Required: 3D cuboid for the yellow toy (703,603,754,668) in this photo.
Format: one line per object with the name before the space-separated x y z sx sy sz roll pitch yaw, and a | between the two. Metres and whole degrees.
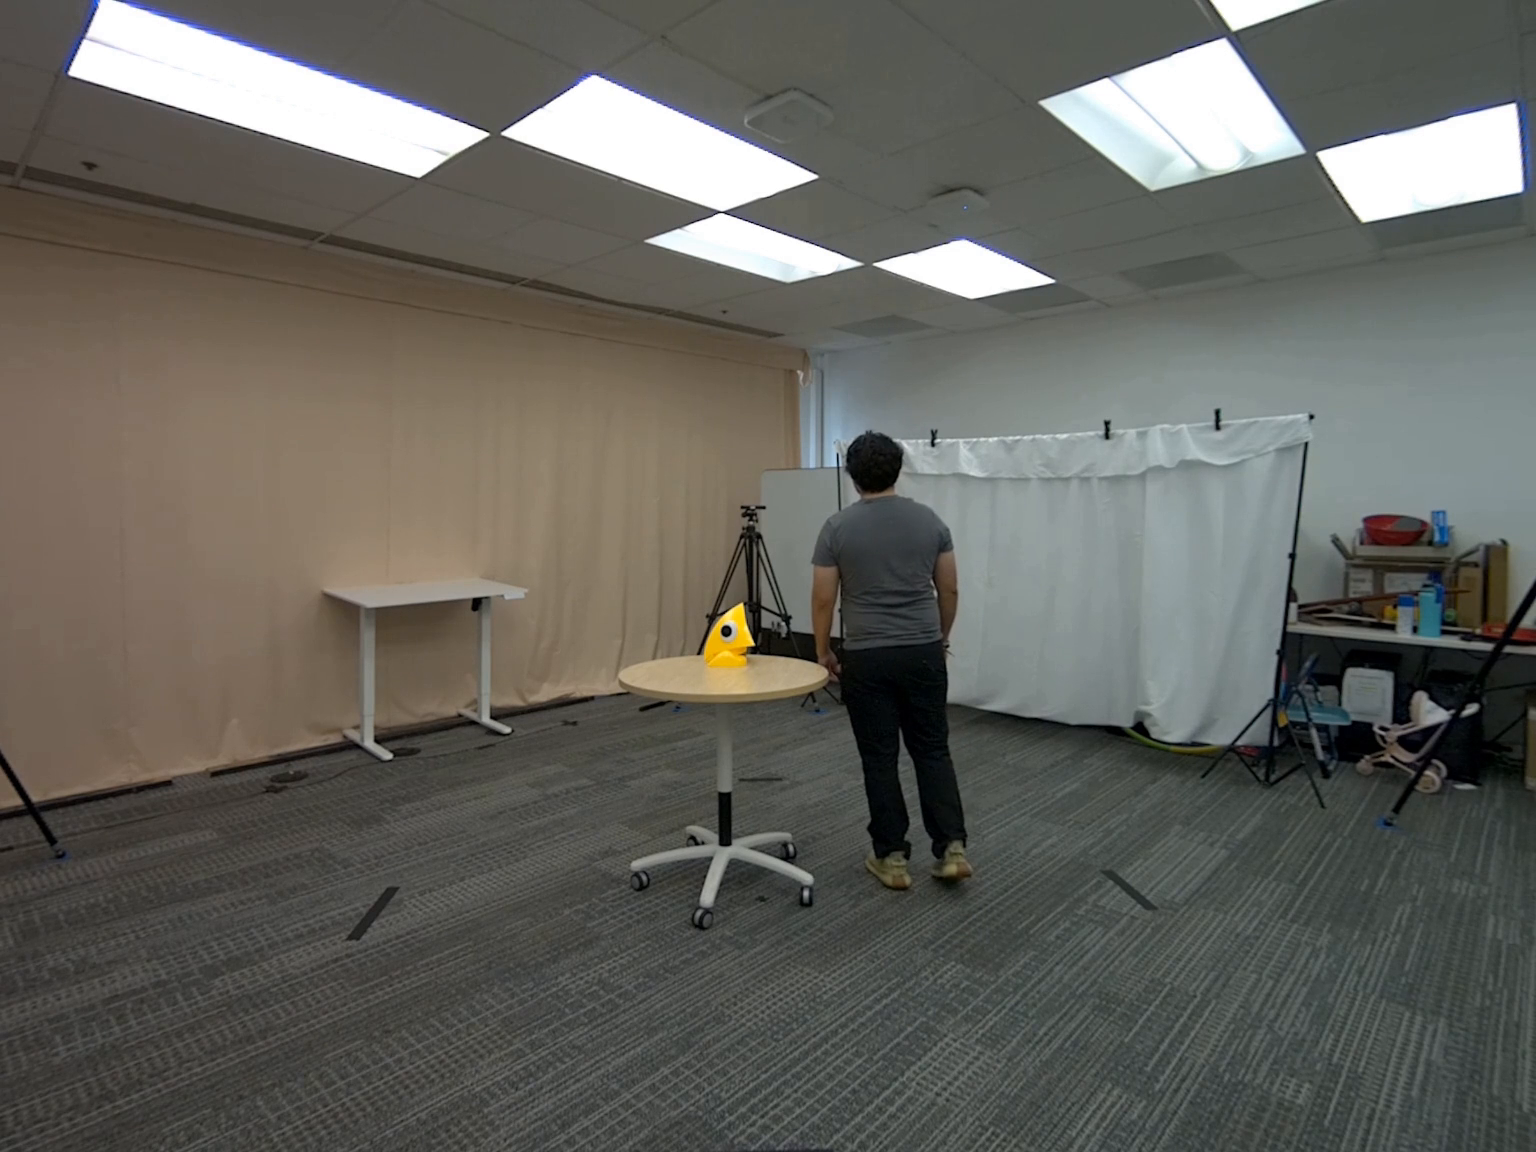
yellow toy | -0.153 0.226 3.283 0.191 0.230 0.207 -1 3 -8
